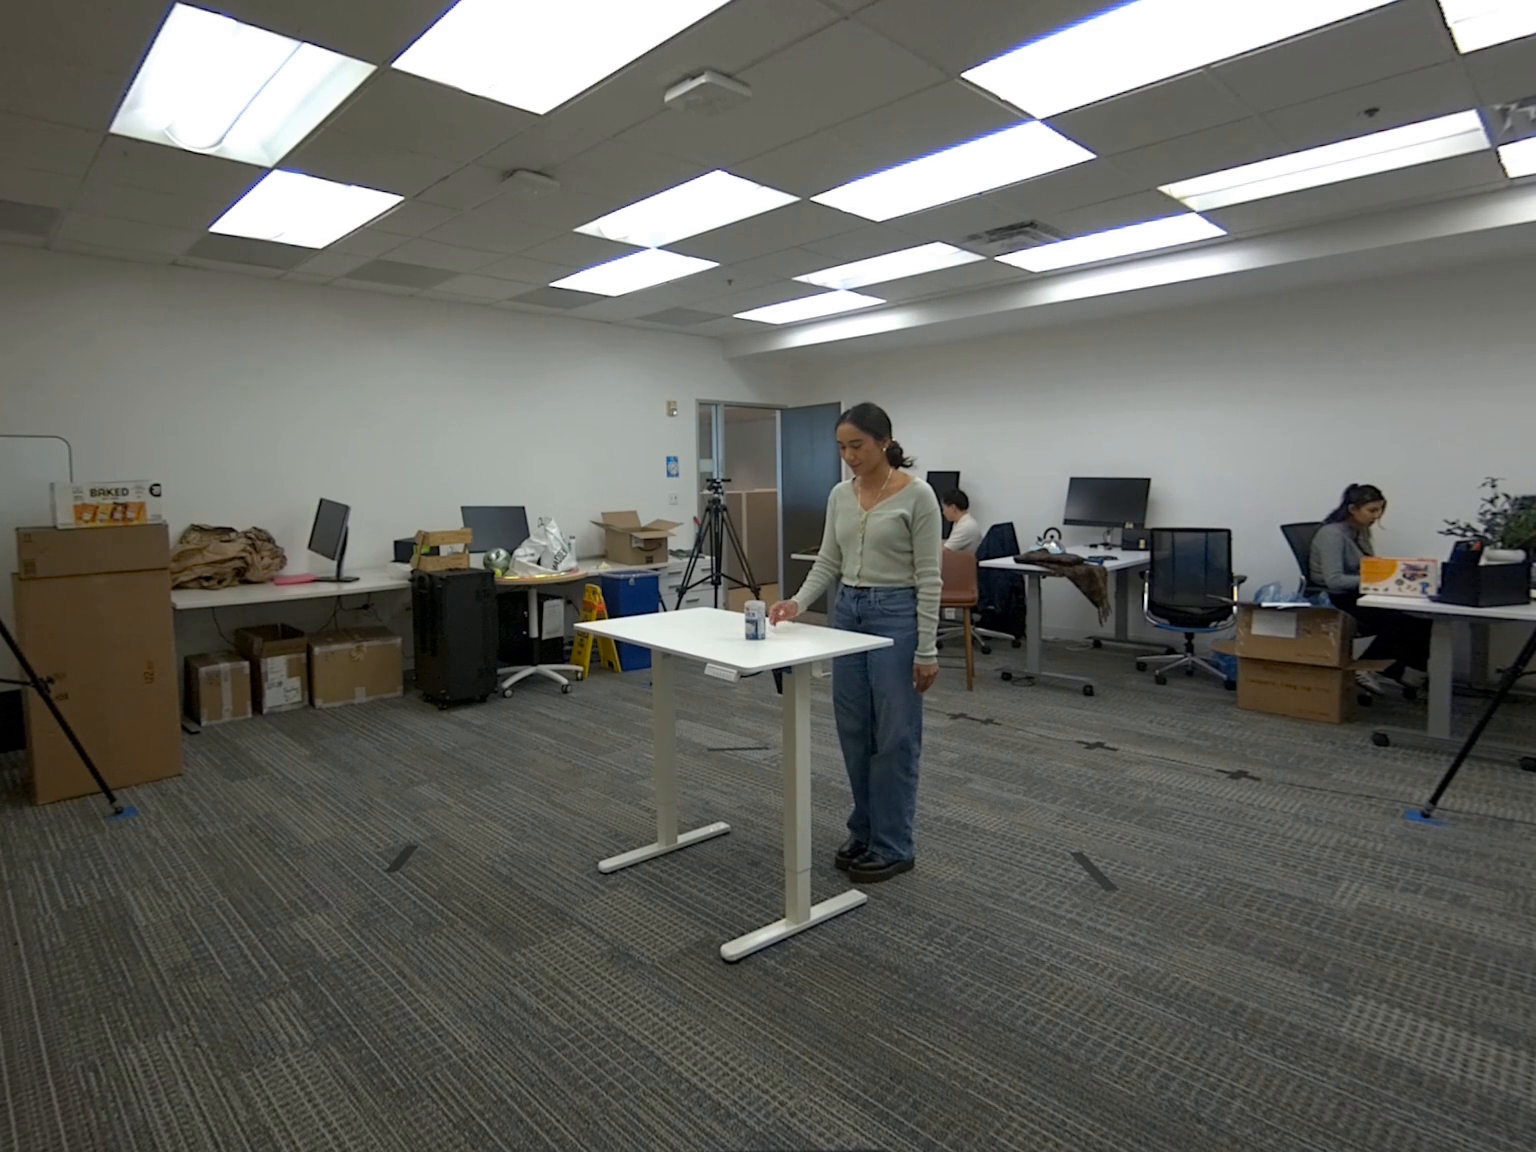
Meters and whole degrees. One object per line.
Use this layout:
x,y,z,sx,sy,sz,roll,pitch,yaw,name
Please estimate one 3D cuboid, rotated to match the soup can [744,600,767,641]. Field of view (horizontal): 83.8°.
-0.033,0.146,2.730,0.067,0.121,0.067,0,6,-2,soup can
